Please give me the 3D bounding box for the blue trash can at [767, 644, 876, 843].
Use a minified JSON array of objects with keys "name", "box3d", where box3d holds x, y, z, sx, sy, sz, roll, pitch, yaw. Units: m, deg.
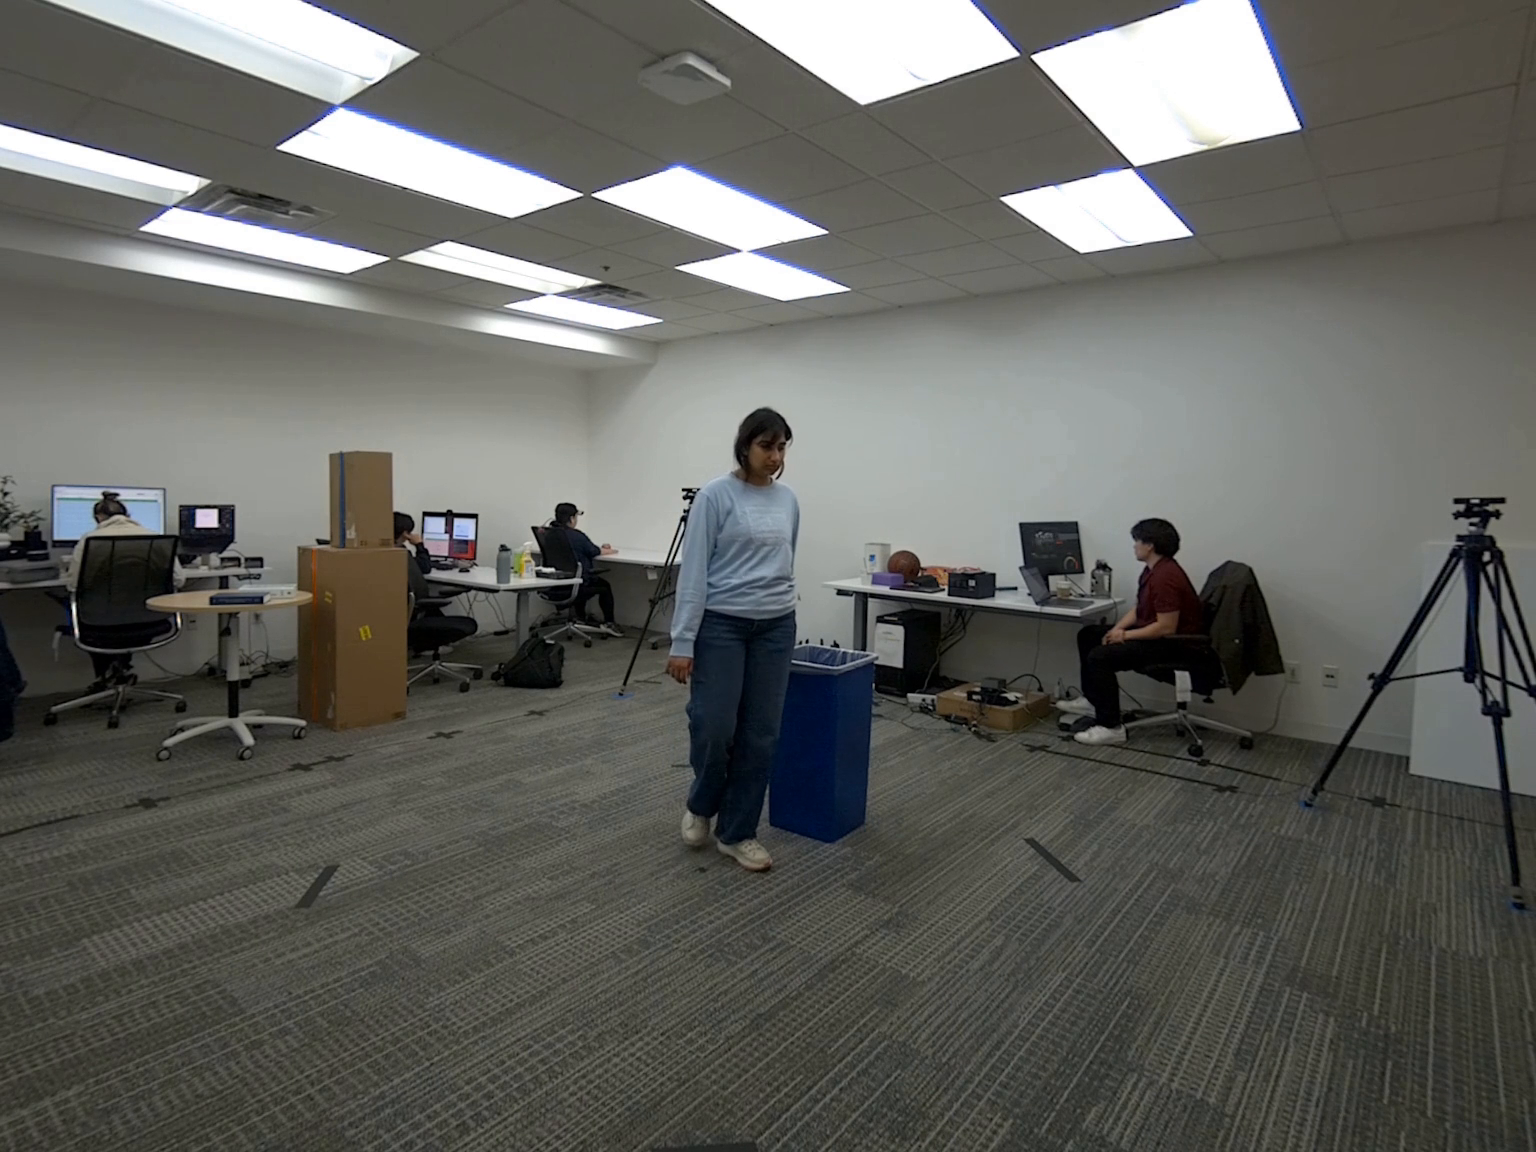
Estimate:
[{"name":"blue trash can","box3d":[0.199,0.678,3.547,0.386,0.711,0.368,4,5,34]}]
